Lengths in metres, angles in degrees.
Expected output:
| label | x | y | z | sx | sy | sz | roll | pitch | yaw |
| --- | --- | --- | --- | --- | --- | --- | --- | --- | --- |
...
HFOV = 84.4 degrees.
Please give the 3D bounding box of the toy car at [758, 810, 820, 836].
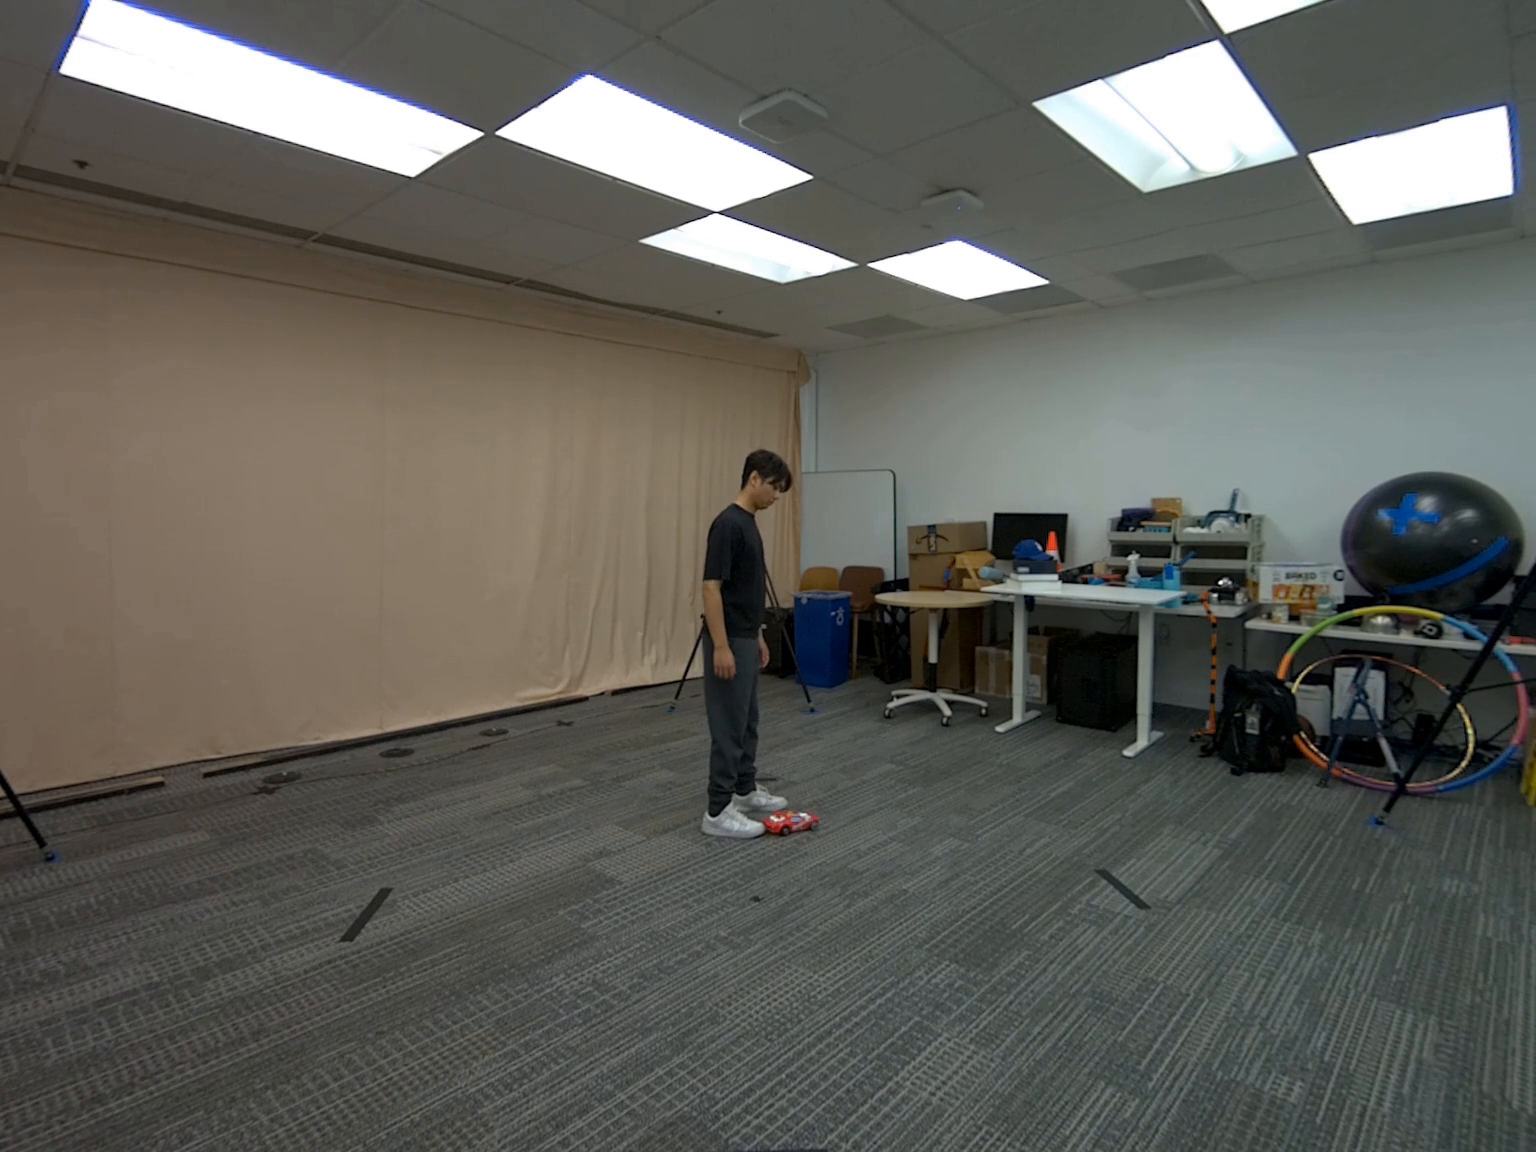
| label | x | y | z | sx | sy | sz | roll | pitch | yaw |
| --- | --- | --- | --- | --- | --- | --- | --- | --- | --- |
| toy car | 0.089 | 1.059 | 3.614 | 0.247 | 0.083 | 0.134 | 11 | 0 | -27 |
